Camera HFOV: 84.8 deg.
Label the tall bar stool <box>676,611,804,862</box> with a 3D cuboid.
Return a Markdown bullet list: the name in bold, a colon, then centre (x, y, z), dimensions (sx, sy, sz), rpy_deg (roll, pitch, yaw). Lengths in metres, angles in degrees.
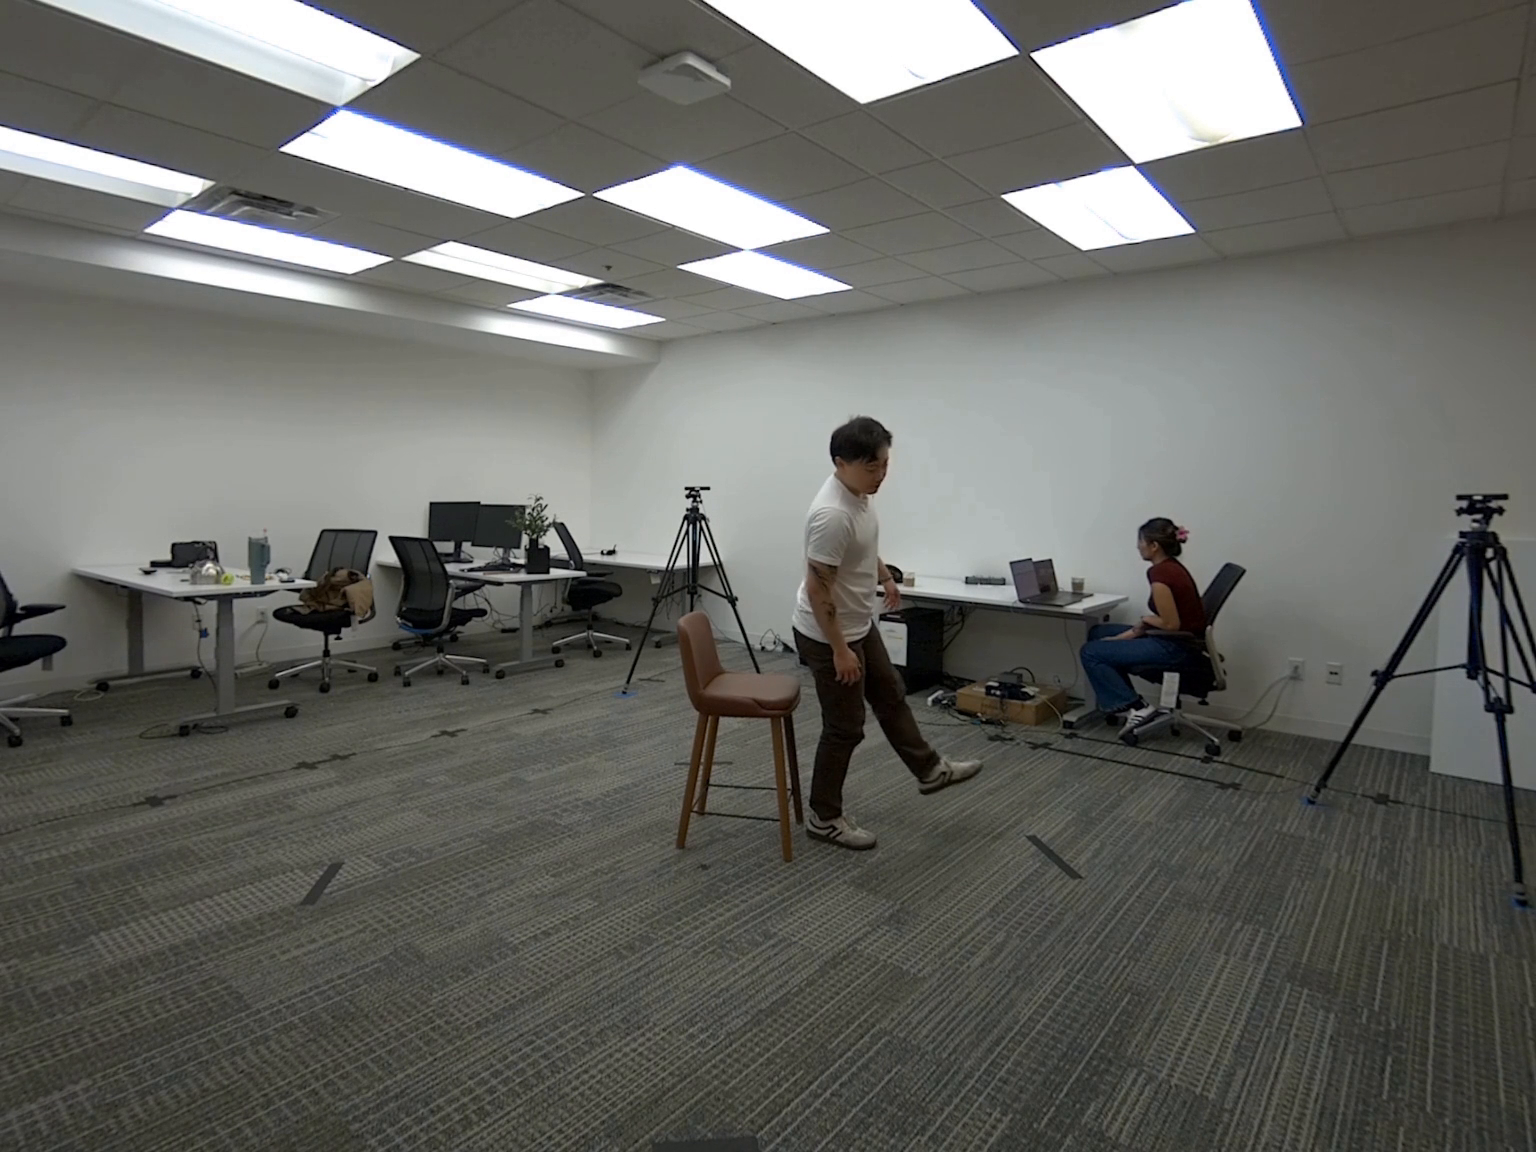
- **tall bar stool**: centre (-0.111, 0.605, 3.400), dimensions (0.474, 0.888, 0.451), rpy_deg (0, 2, 12)
